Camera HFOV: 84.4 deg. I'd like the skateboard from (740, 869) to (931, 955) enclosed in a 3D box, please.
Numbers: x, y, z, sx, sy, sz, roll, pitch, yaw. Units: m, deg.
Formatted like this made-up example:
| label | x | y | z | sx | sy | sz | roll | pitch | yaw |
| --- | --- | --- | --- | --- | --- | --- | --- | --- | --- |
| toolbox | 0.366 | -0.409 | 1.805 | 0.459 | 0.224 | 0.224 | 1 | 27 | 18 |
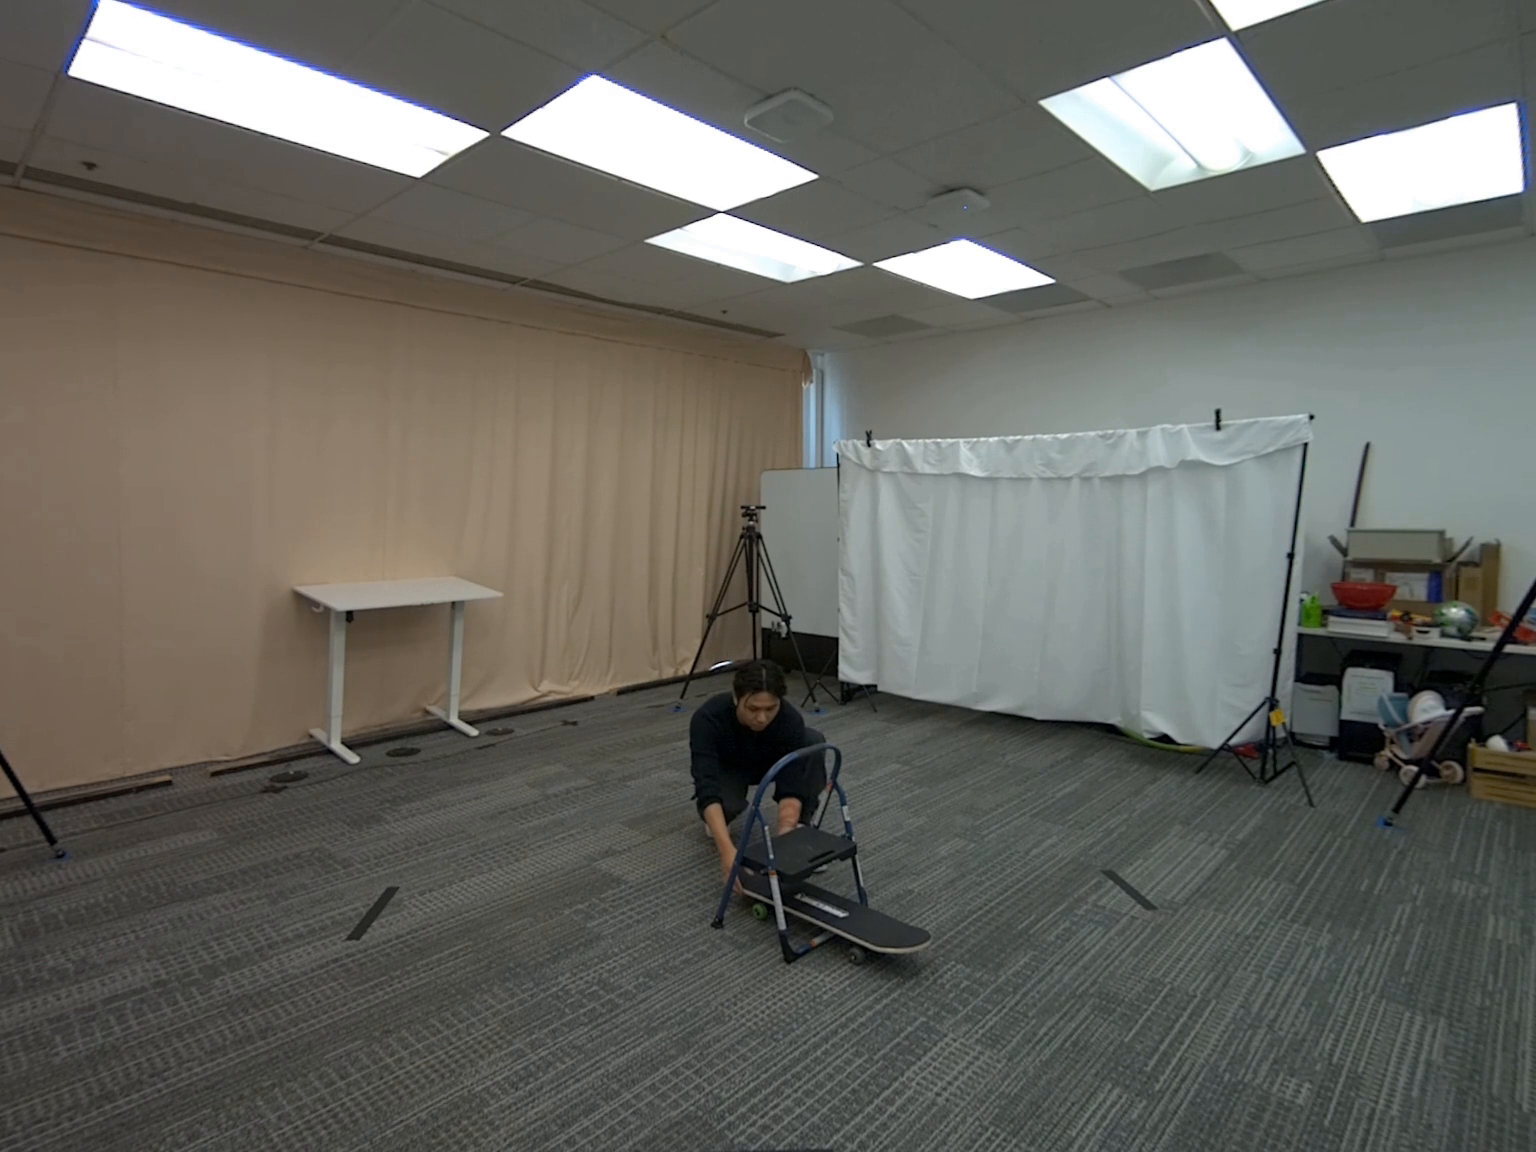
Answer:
| label | x | y | z | sx | sy | sz | roll | pitch | yaw |
| --- | --- | --- | --- | --- | --- | --- | --- | --- | --- |
| skateboard | 0.182 | 1.100 | 2.756 | 0.812 | 0.110 | 0.187 | 4 | 7 | 43 |
